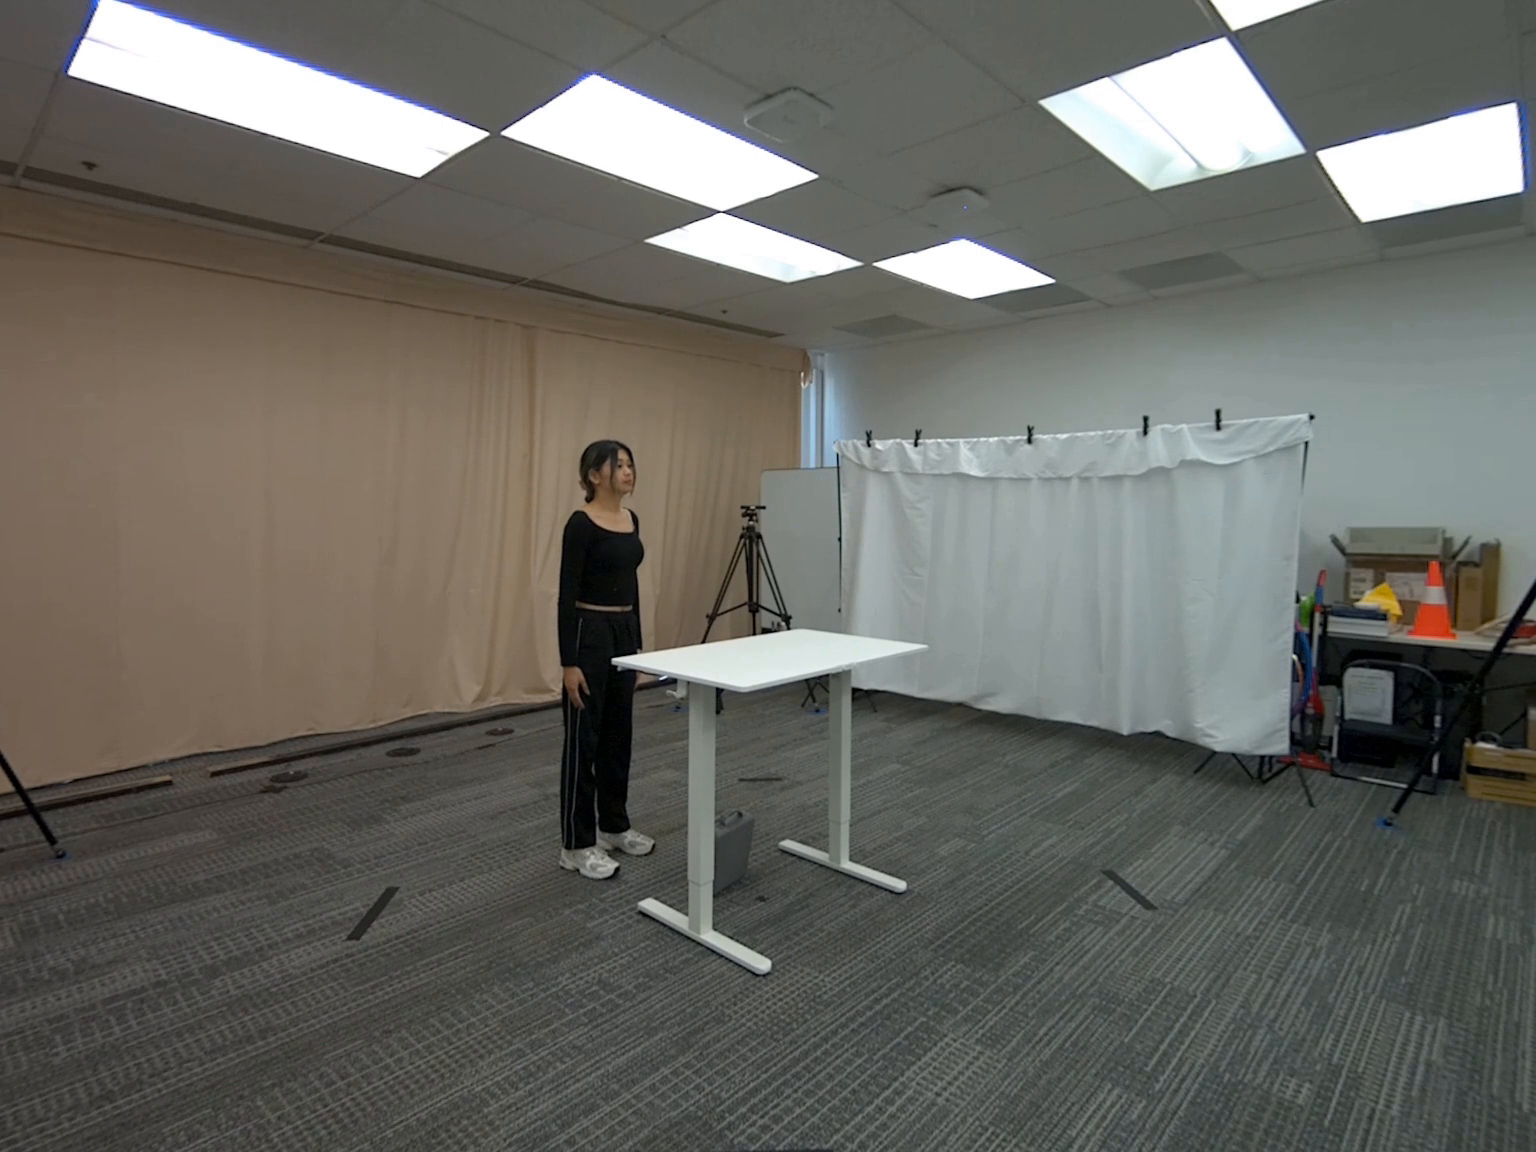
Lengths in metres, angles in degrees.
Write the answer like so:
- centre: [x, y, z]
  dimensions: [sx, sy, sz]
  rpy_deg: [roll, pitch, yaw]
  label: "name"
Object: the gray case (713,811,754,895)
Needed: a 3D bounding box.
- centre: [-0.159, 1.002, 3.083]
  dimensions: [0.108, 0.259, 0.250]
  rpy_deg: [16, 12, 31]
  label: "gray case"
